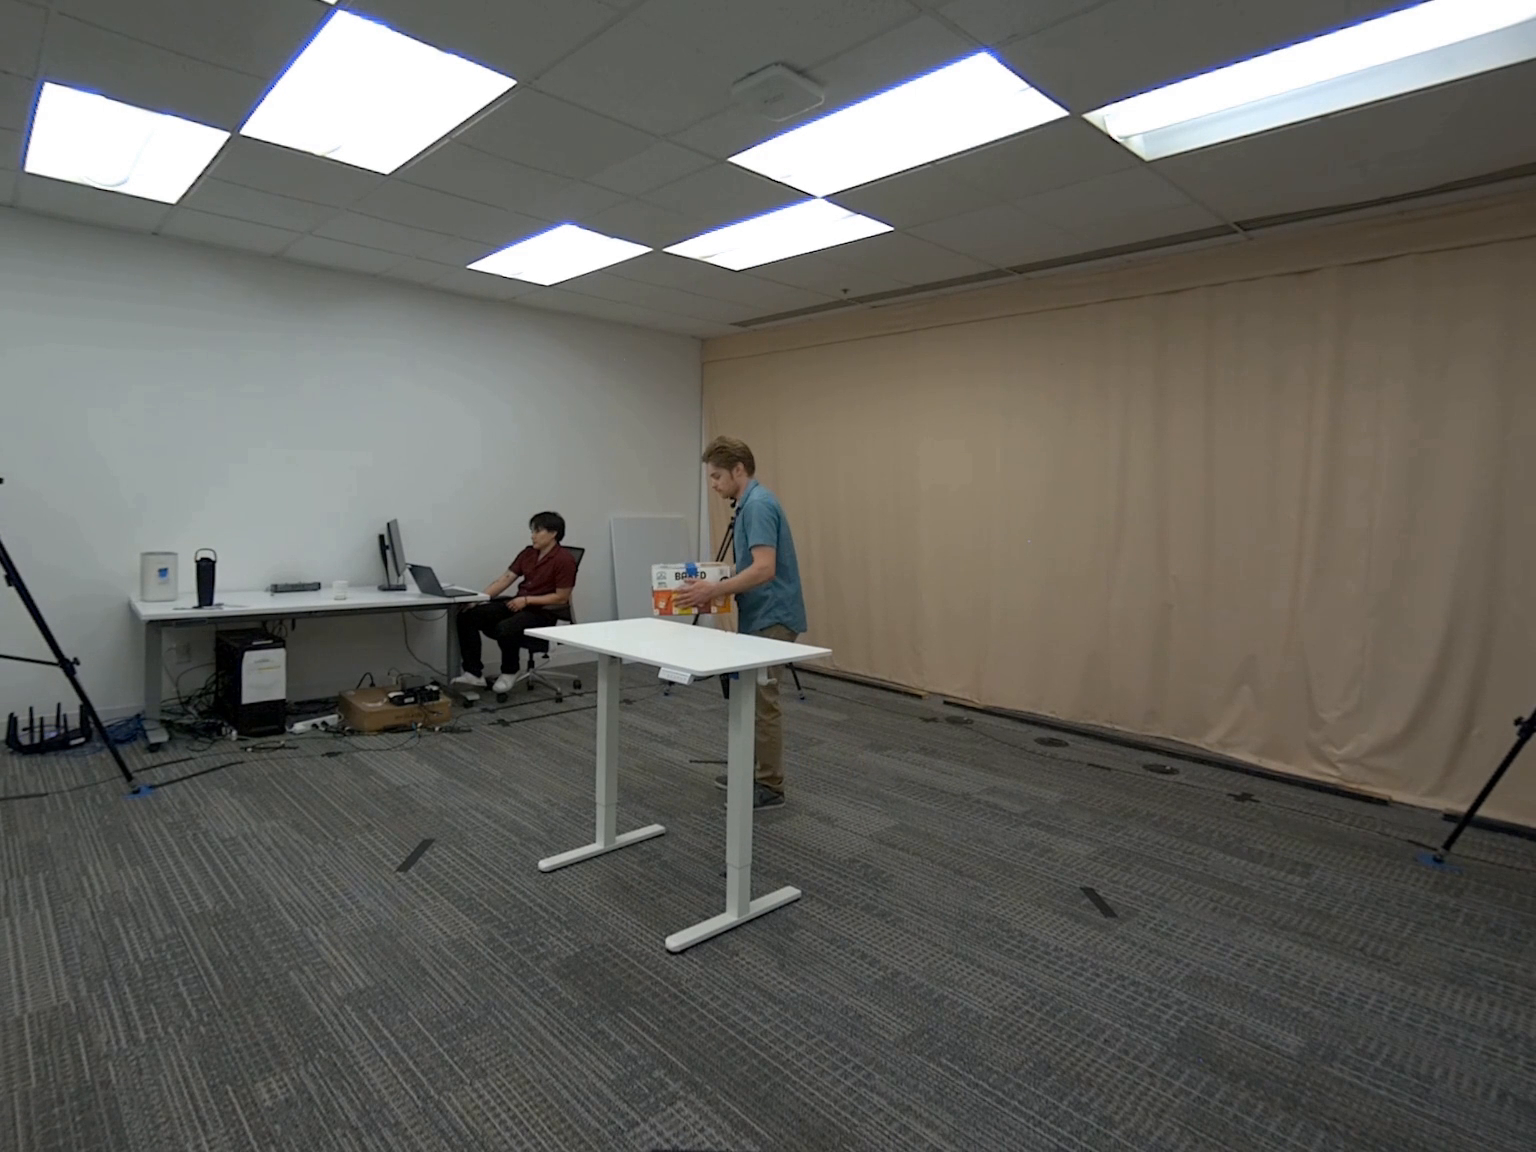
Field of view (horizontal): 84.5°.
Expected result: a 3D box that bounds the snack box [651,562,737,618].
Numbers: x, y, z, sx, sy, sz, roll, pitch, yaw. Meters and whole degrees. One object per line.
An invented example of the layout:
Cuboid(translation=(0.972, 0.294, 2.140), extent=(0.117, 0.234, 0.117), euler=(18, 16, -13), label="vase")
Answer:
Cuboid(translation=(-0.361, 0.054, 3.846), extent=(0.339, 0.205, 0.408), euler=(-2, 4, -6), label="snack box")
